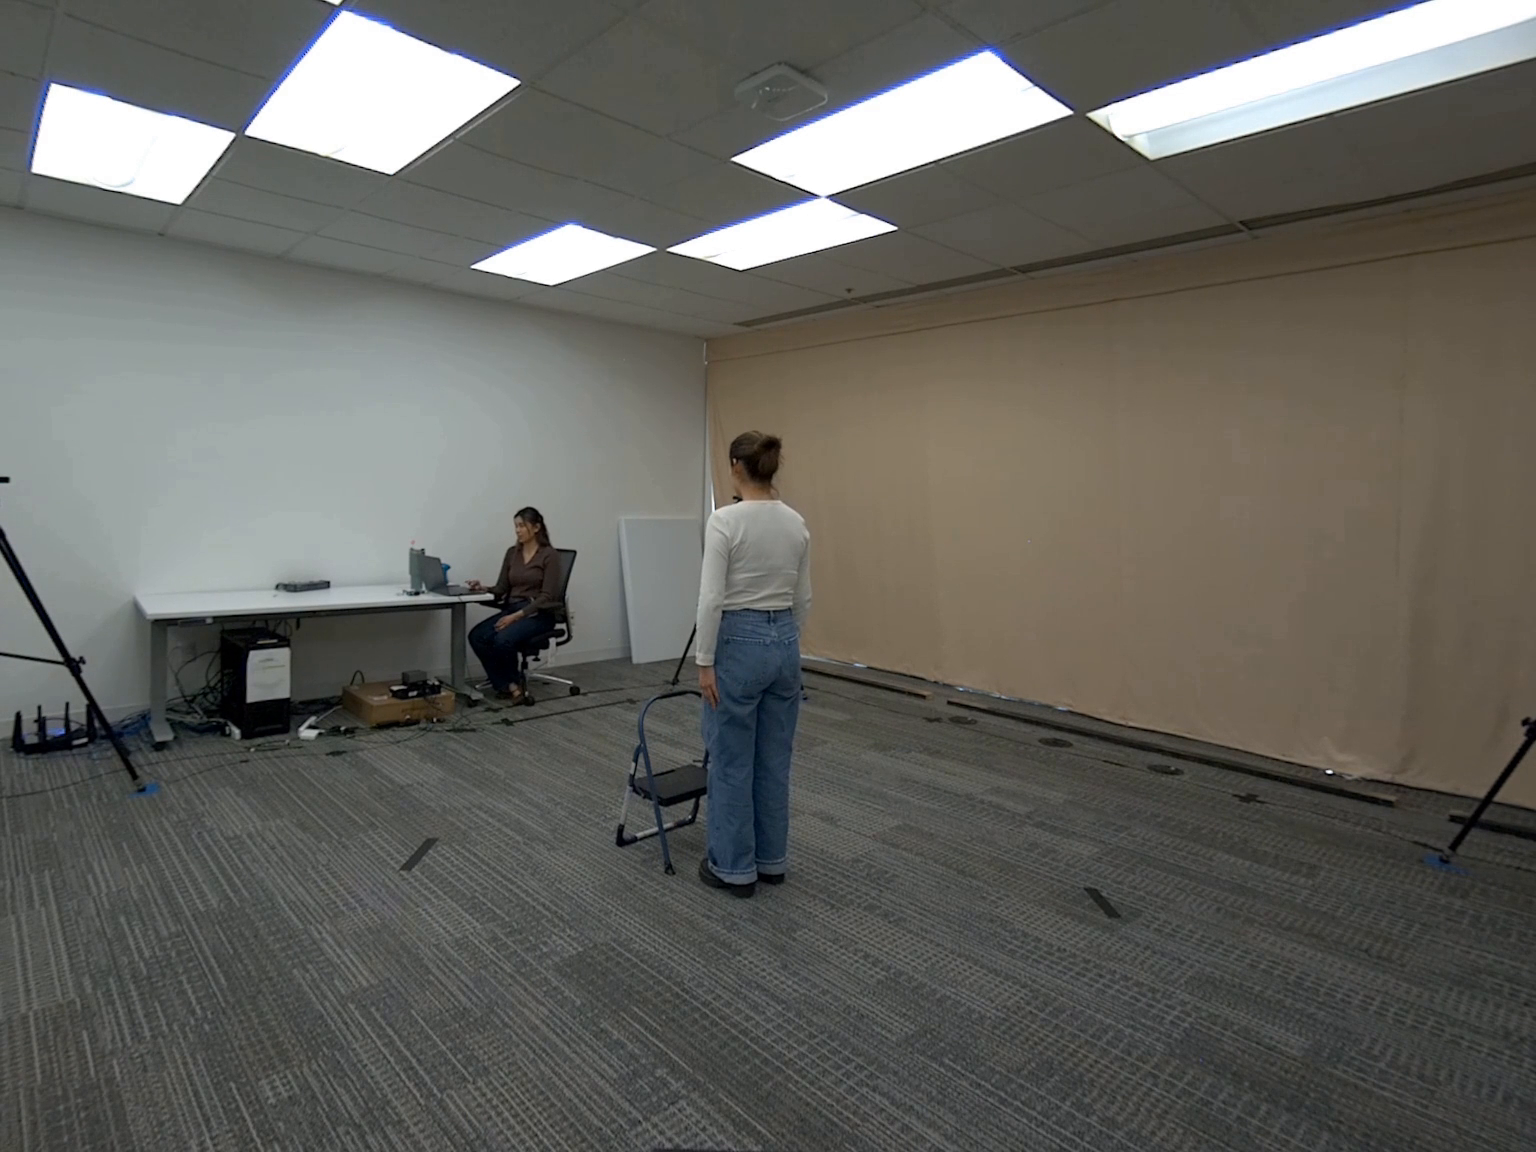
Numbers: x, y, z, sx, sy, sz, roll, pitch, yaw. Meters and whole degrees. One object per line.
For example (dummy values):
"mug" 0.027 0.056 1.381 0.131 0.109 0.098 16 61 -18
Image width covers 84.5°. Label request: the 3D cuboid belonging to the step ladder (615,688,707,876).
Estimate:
"step ladder" -0.339 0.771 3.343 0.358 0.604 0.421 5 5 44
